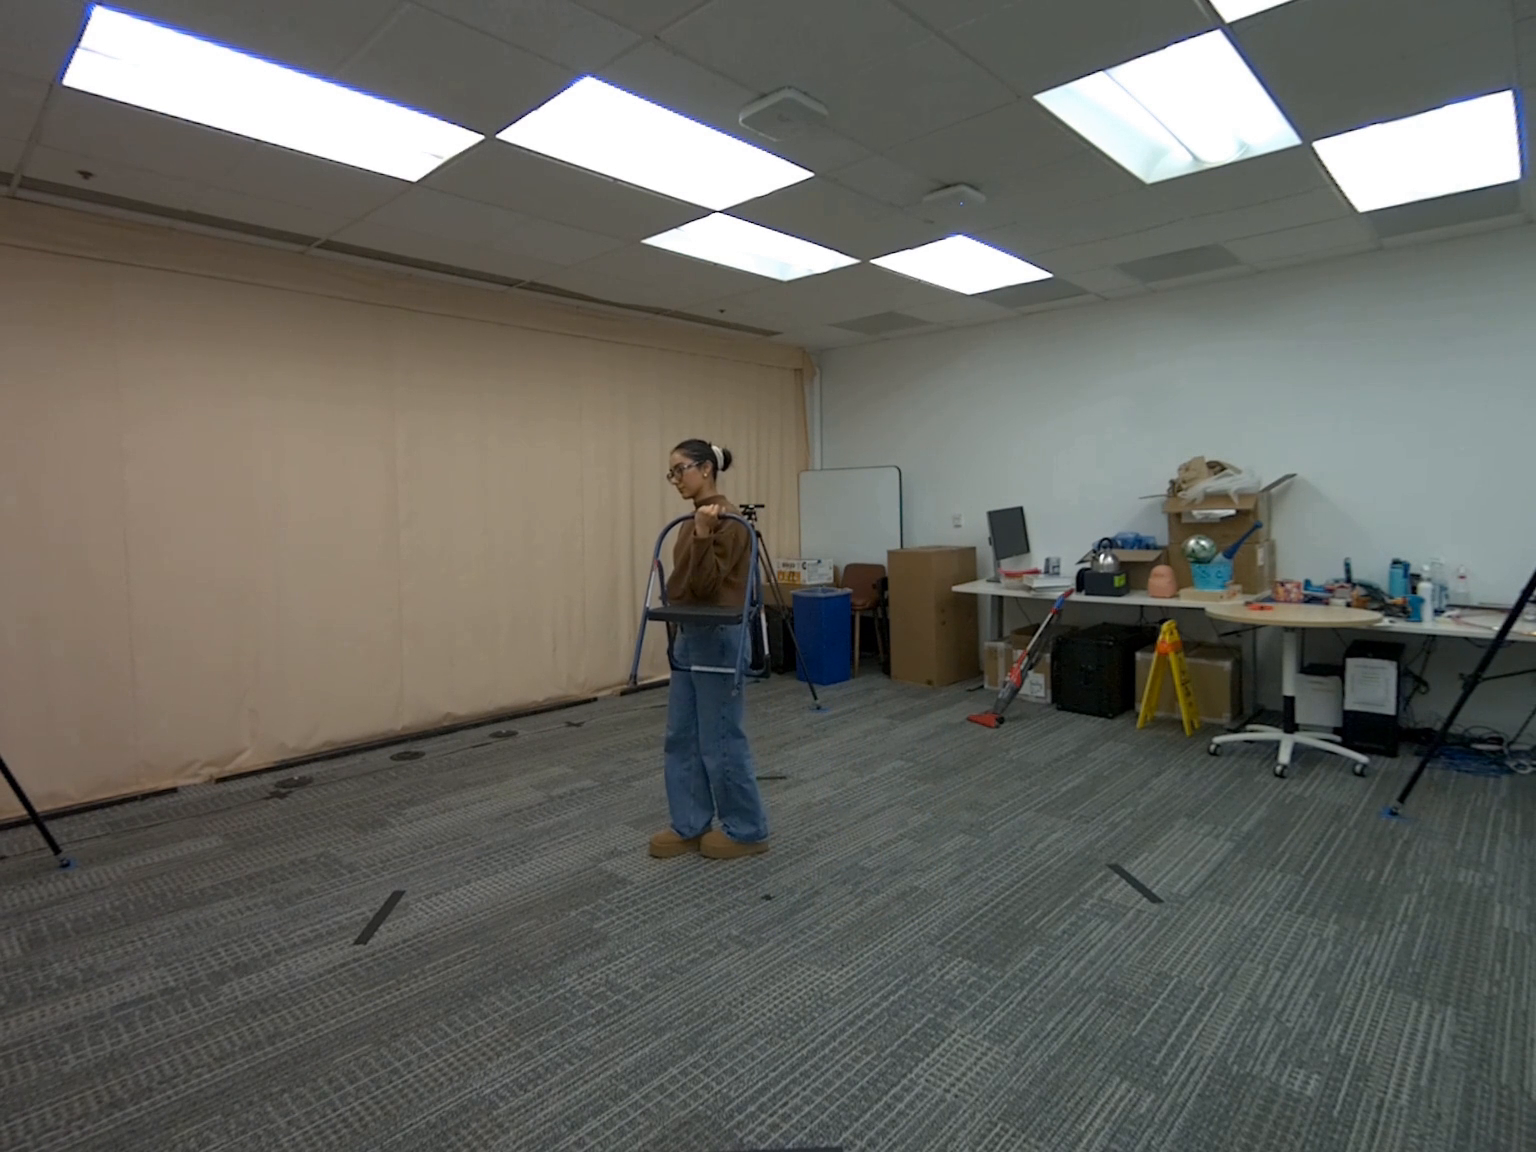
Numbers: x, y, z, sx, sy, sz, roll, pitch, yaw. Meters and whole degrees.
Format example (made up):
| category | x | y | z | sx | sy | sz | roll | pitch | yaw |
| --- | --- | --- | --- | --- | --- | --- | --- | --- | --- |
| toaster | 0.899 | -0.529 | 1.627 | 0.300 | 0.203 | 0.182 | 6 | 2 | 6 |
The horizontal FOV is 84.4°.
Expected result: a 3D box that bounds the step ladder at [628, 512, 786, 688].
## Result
| category | x | y | z | sx | sy | sz | roll | pitch | yaw |
| --- | --- | --- | --- | --- | --- | --- | --- | --- | --- |
| step ladder | -0.227 | 0.080 | 3.021 | 0.440 | 0.605 | 0.342 | 0 | 2 | 21 |
